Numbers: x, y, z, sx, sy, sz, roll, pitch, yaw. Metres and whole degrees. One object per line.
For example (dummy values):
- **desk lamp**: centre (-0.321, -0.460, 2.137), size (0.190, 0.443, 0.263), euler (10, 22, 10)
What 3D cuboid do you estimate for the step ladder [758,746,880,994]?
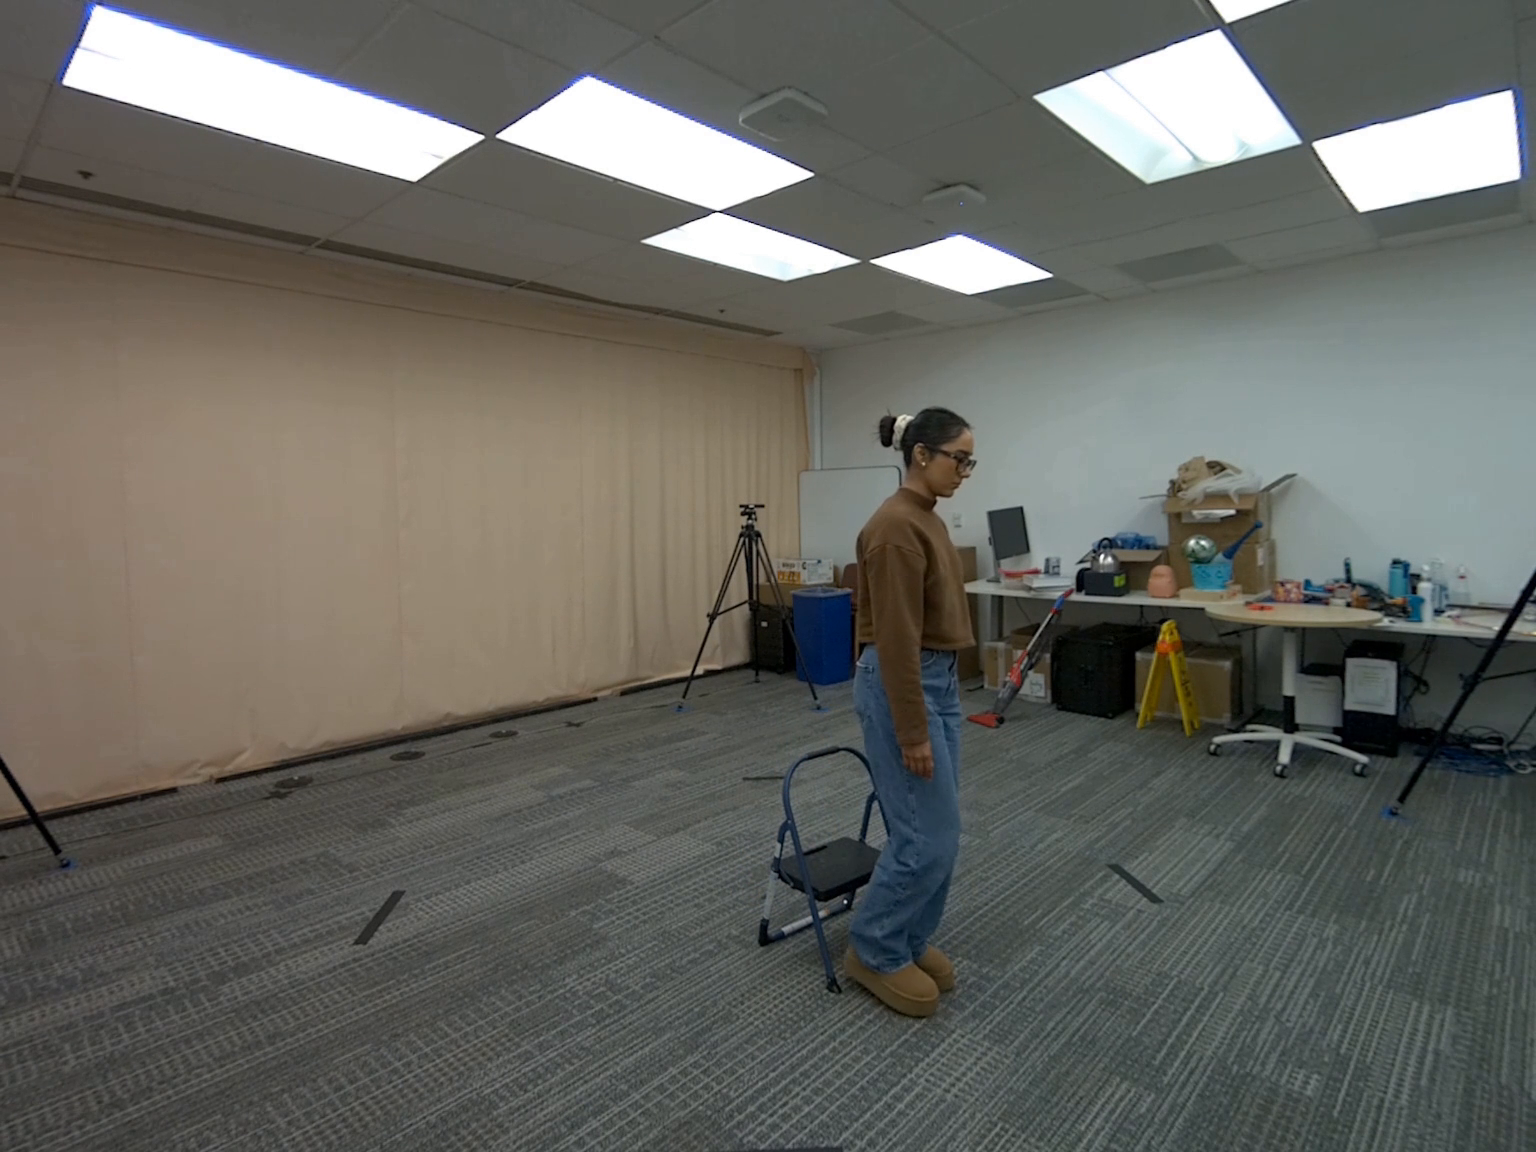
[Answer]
- **step ladder**: centre (0.233, 0.862, 2.639), size (0.418, 0.605, 0.361), euler (-4, 4, -40)
